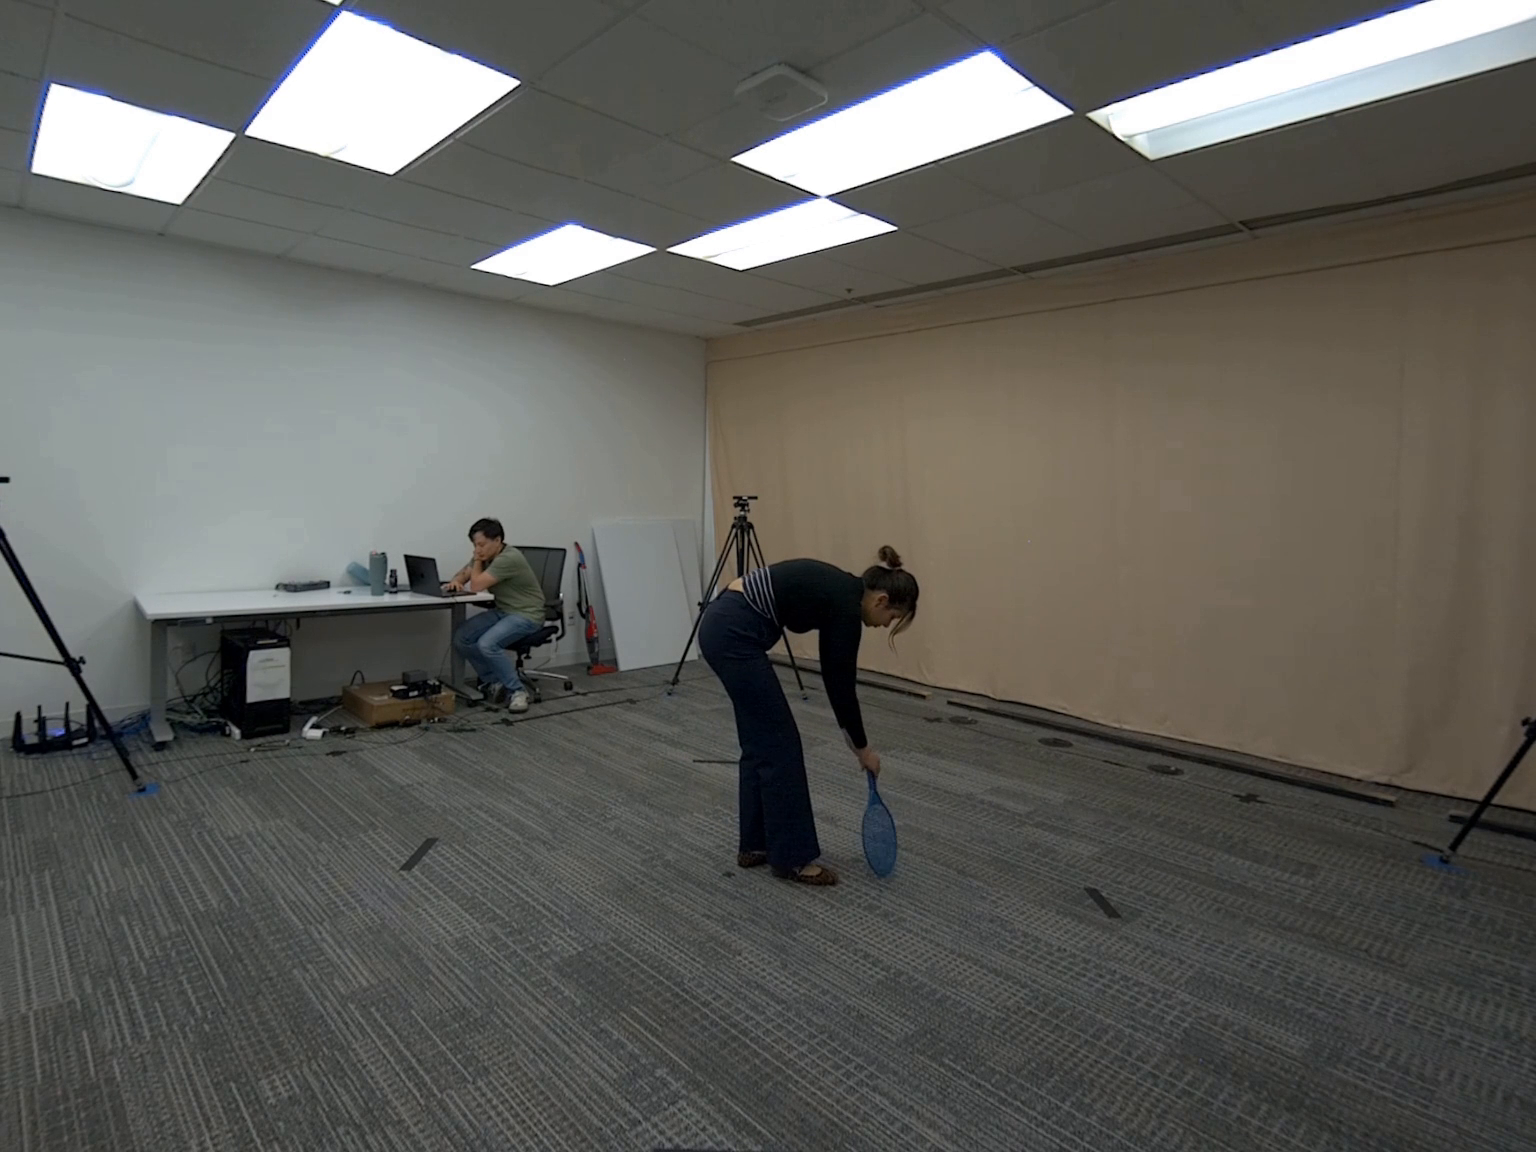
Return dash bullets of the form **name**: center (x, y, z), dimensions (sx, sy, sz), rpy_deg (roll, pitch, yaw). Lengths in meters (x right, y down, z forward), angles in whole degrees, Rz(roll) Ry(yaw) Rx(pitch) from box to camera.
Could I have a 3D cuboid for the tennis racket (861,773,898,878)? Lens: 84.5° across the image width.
- **tennis racket**: center (0.385, 0.908, 3.186), dimensions (0.032, 0.439, 0.208), rpy_deg (-14, -17, 17)
